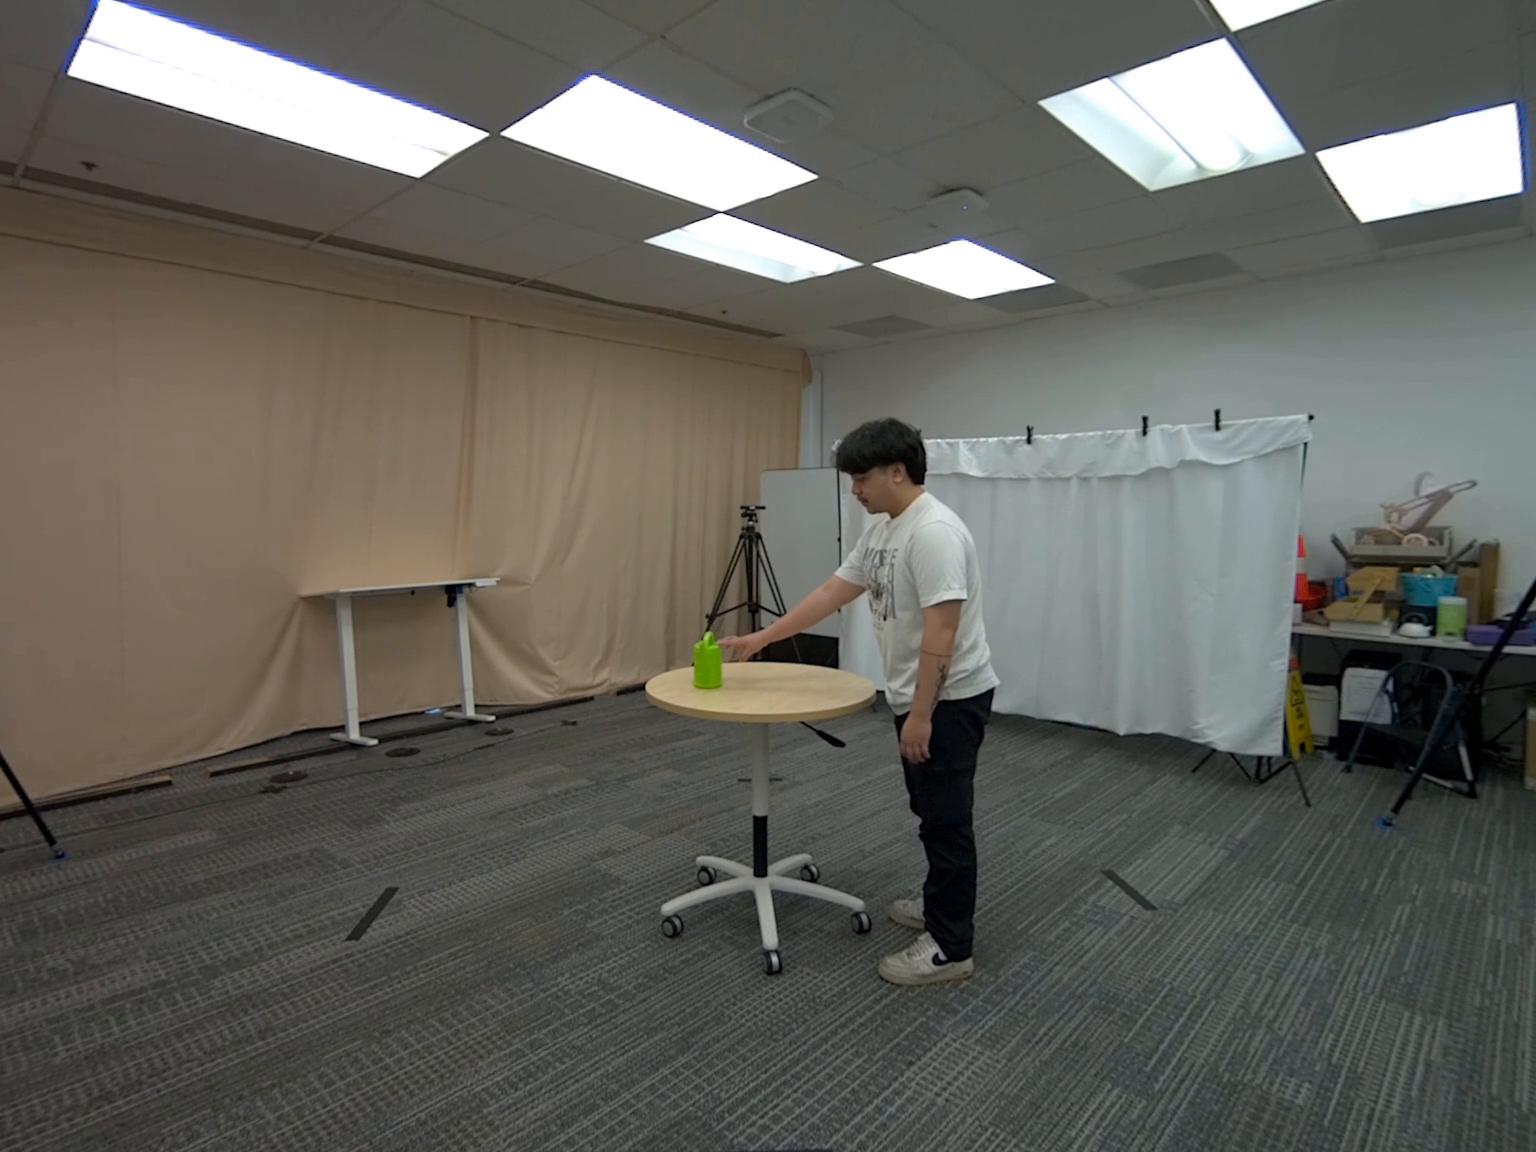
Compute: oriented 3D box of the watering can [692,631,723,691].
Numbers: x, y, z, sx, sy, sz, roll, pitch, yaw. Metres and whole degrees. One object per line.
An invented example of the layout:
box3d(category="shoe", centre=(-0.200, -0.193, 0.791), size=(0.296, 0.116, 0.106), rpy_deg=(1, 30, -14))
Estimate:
box3d(category="watering can", centre=(-0.204, 0.286, 2.771), size=(0.100, 0.176, 0.273), rpy_deg=(0, 3, 18))
